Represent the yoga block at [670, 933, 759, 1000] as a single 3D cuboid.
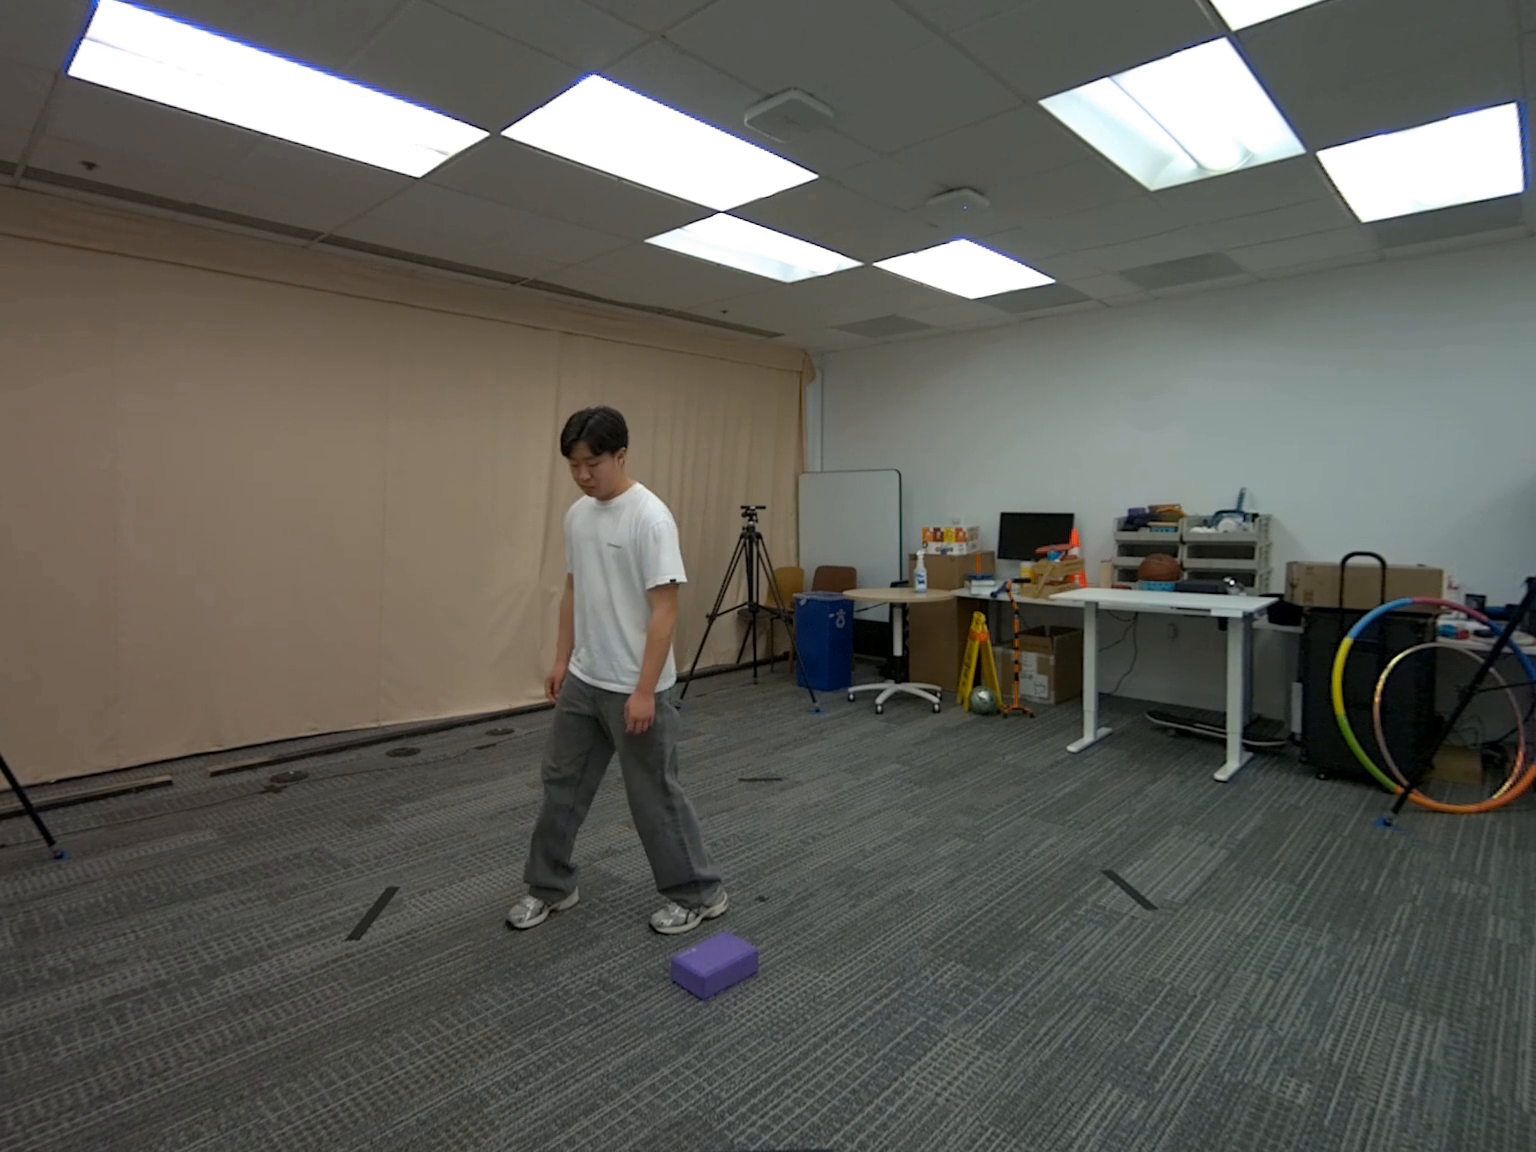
[{"bbox_3d":[-0.147,1.148,2.486,0.222,0.076,0.154,-4,6,-44],"label":"yoga block"}]
